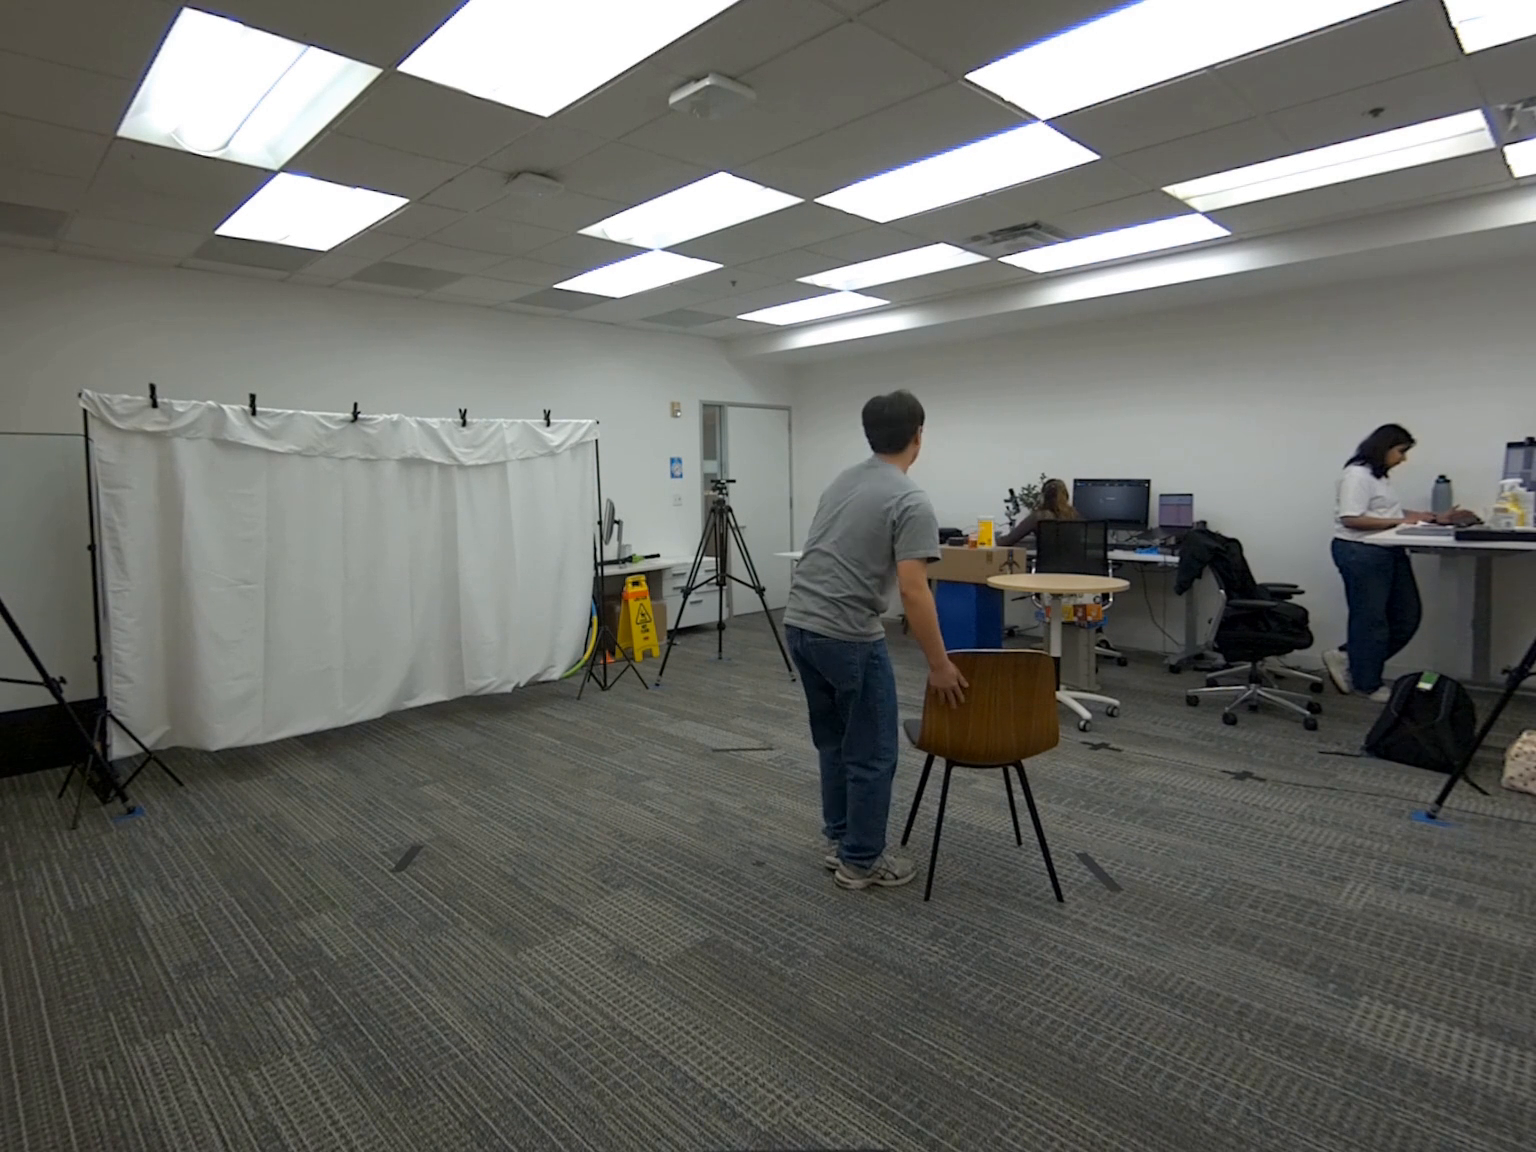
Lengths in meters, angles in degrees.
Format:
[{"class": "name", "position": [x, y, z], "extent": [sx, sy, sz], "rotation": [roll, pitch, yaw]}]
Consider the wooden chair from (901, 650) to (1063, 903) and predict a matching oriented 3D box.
[{"class": "wooden chair", "position": [0.725, 0.617, 2.993], "extent": [0.479, 0.871, 0.526], "rotation": [-1, 8, 0]}]
